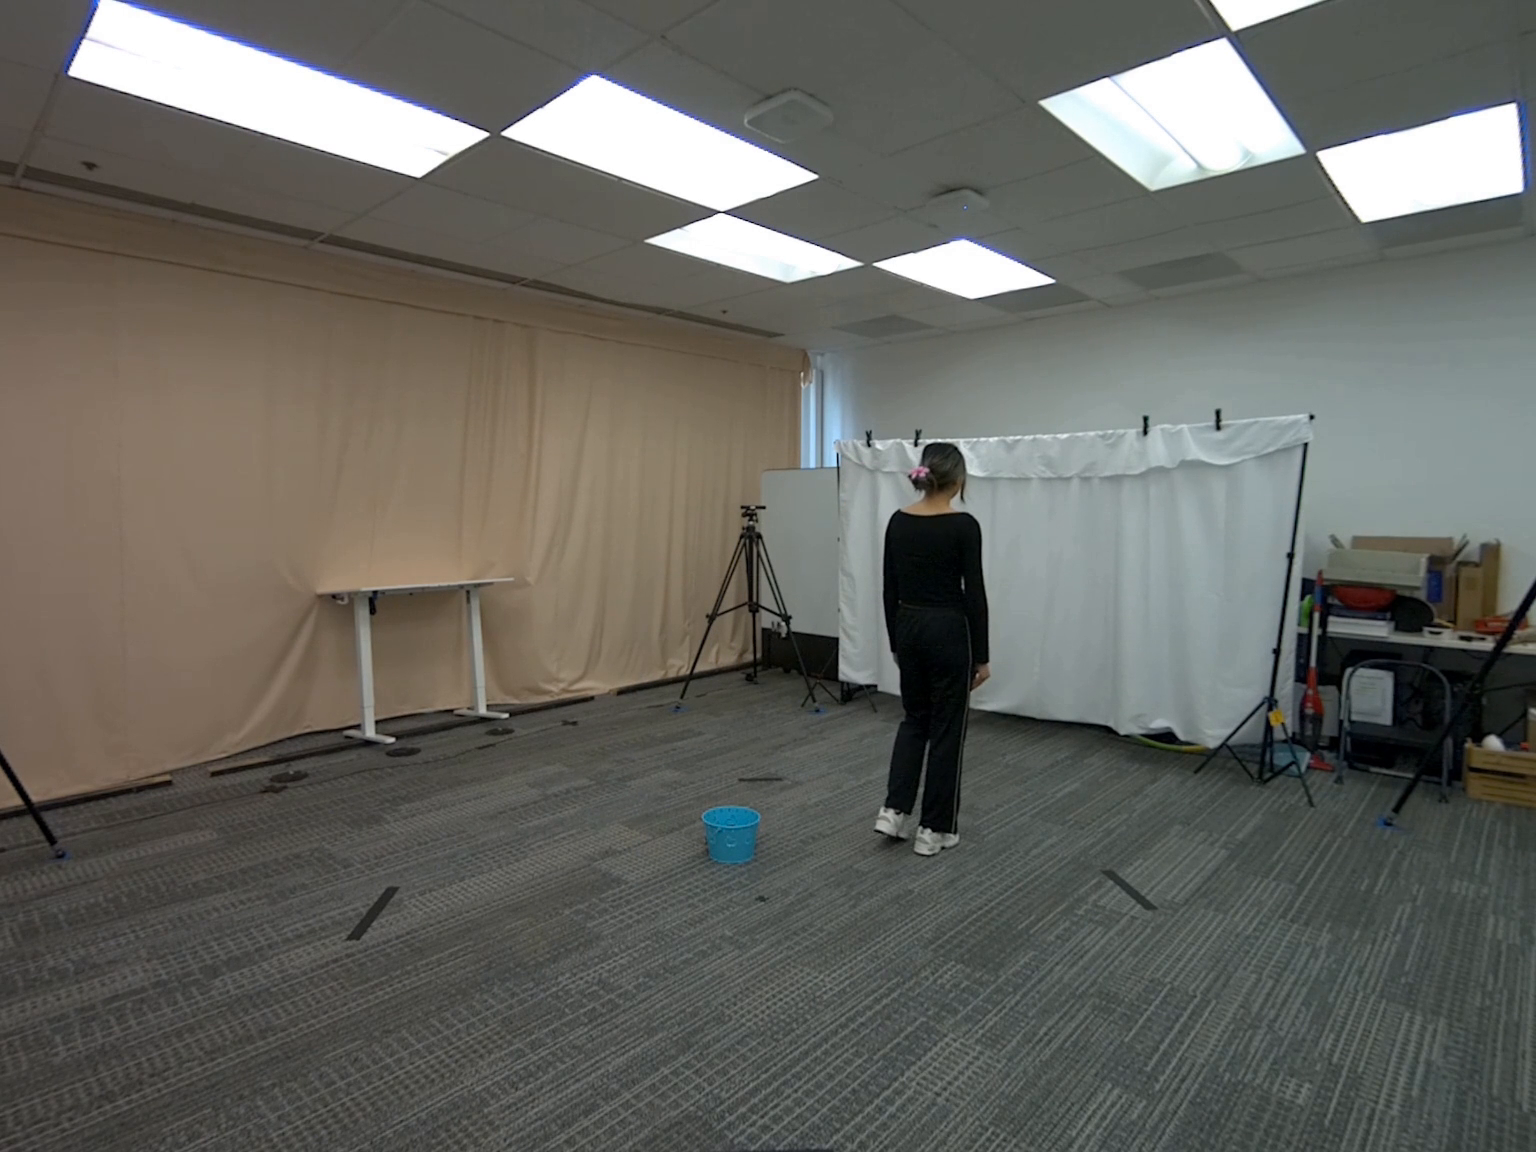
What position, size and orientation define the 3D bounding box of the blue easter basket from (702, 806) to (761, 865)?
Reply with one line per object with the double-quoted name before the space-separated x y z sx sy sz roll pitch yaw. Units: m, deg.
"blue easter basket" -0.149 1.033 3.364 0.243 0.155 0.244 -1 5 -2
